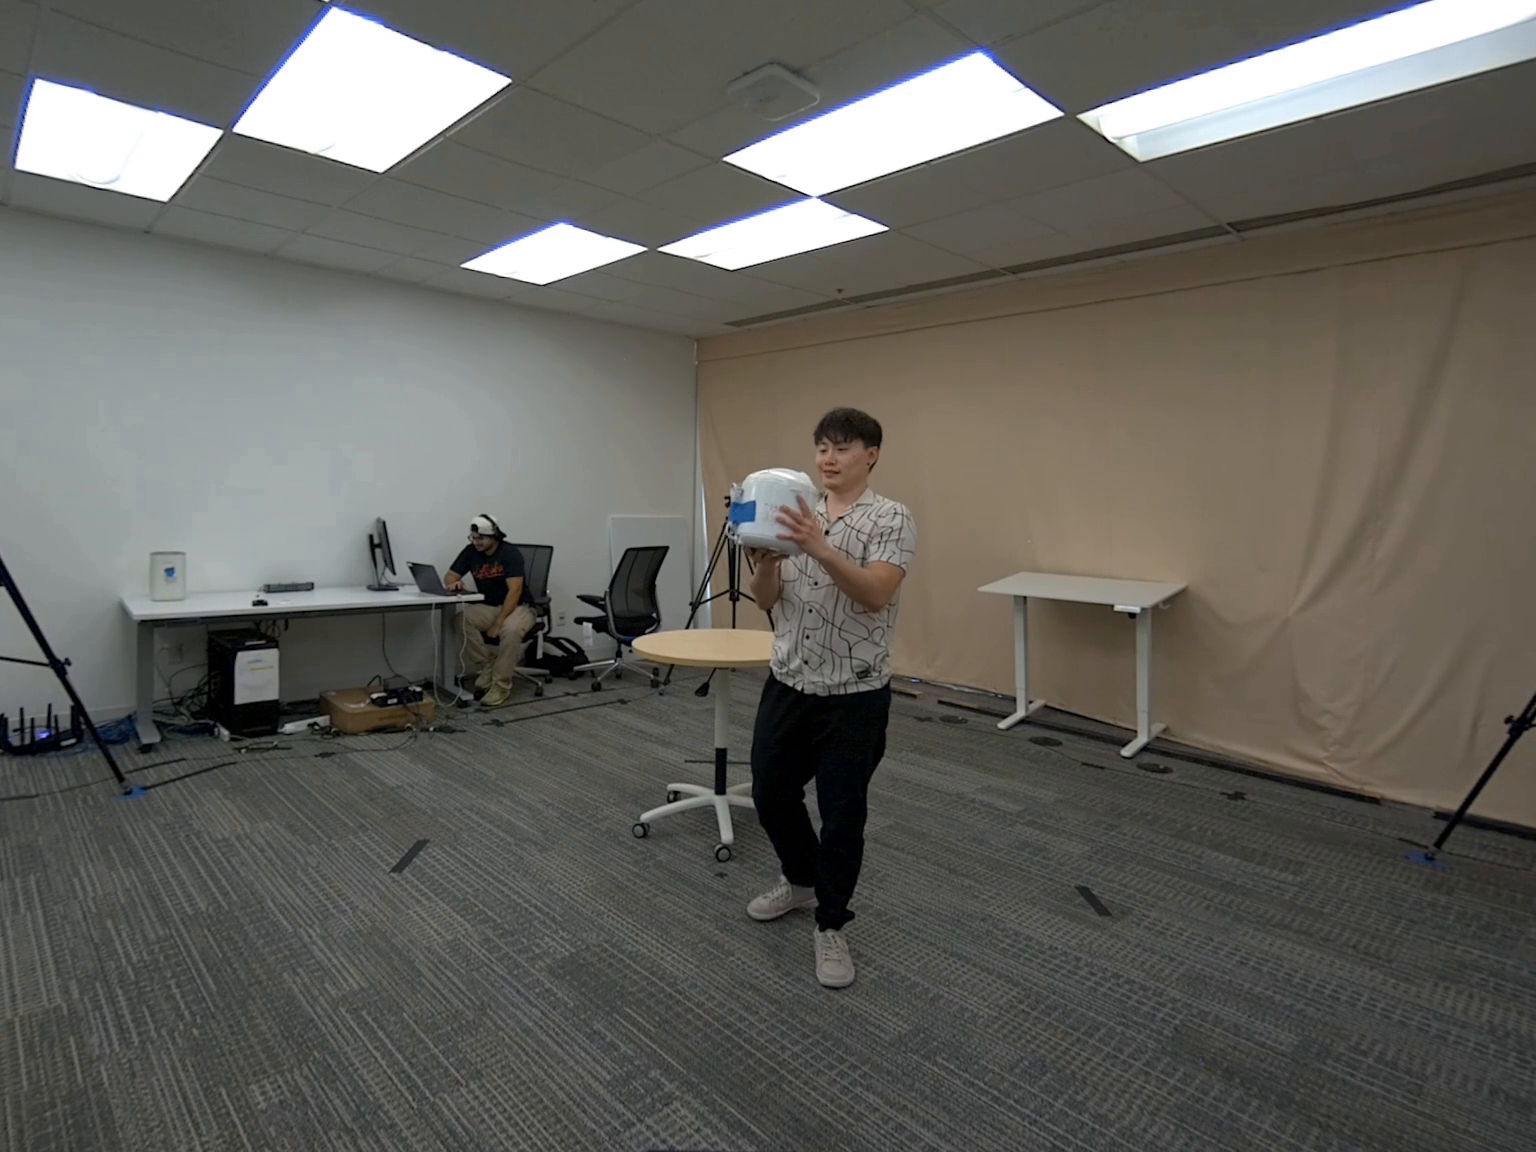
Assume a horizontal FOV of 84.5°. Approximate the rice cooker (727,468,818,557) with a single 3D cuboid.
[{"bbox_3d":[0.014,-0.179,2.303,0.226,0.233,0.212,8,-5,29],"label":"rice cooker"}]
